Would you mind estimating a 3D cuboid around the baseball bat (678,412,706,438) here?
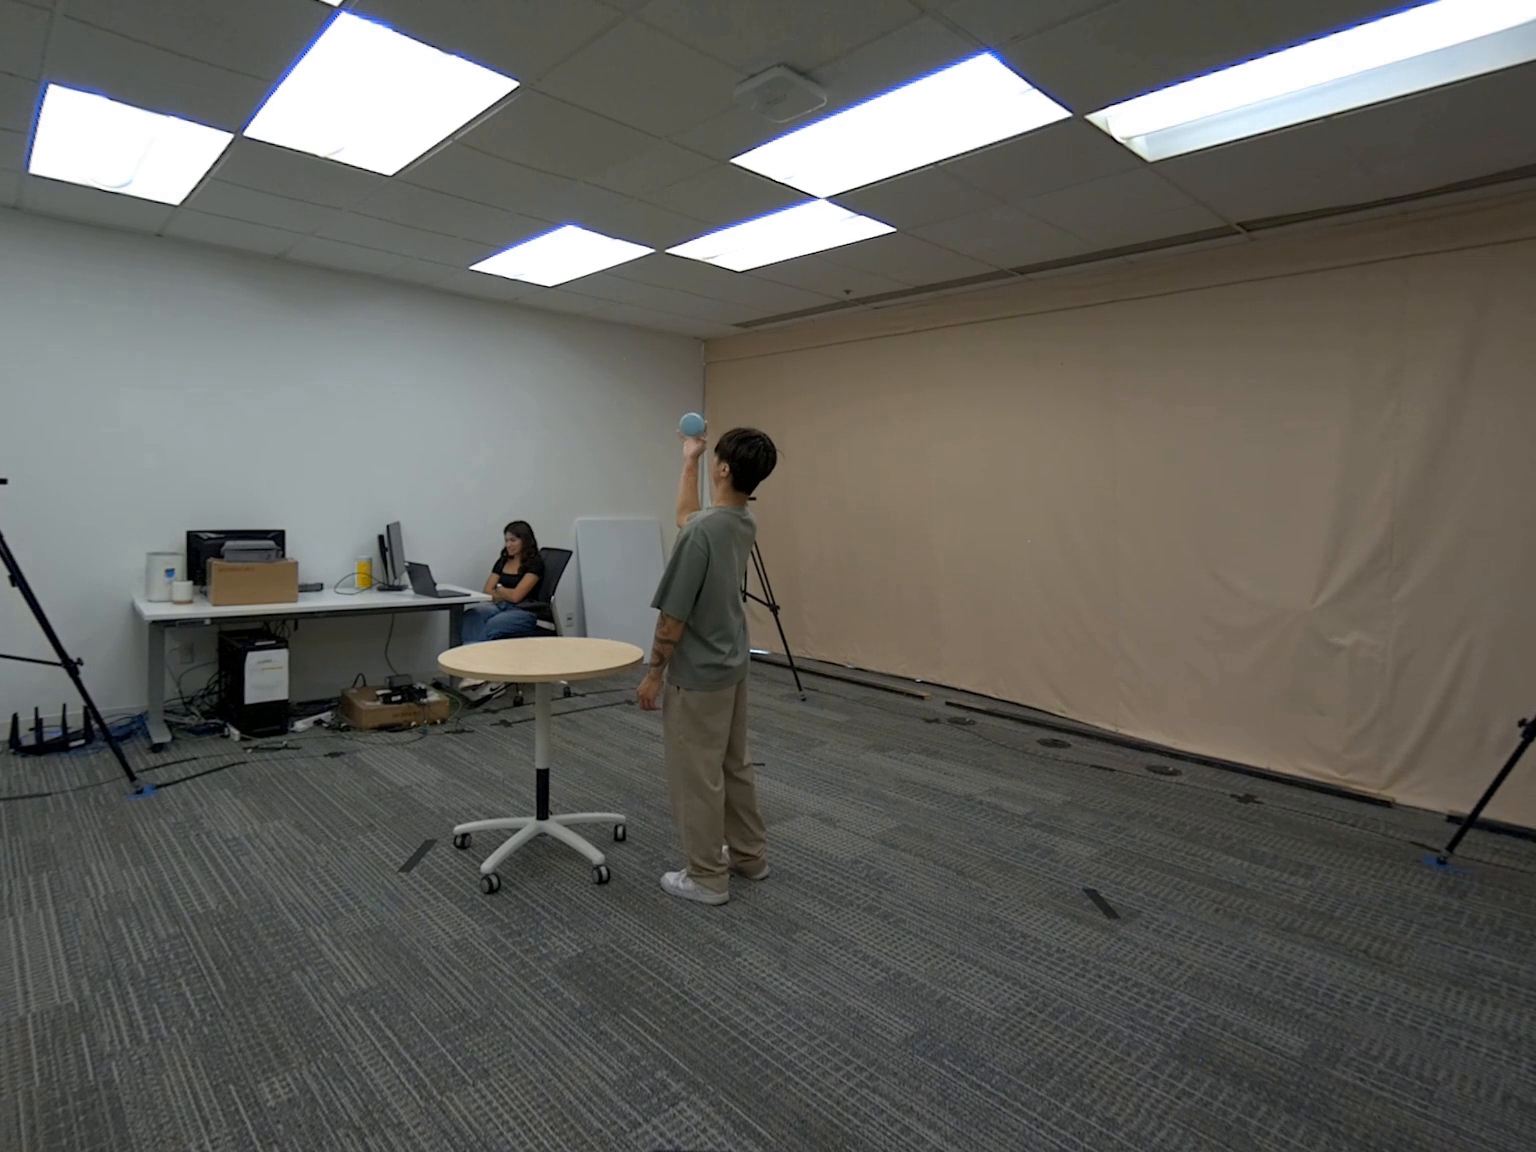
[{"bbox_3d":[-0.300,-0.588,3.316,0.089,0.088,0.546,1,11,-1],"label":"baseball bat"}]
